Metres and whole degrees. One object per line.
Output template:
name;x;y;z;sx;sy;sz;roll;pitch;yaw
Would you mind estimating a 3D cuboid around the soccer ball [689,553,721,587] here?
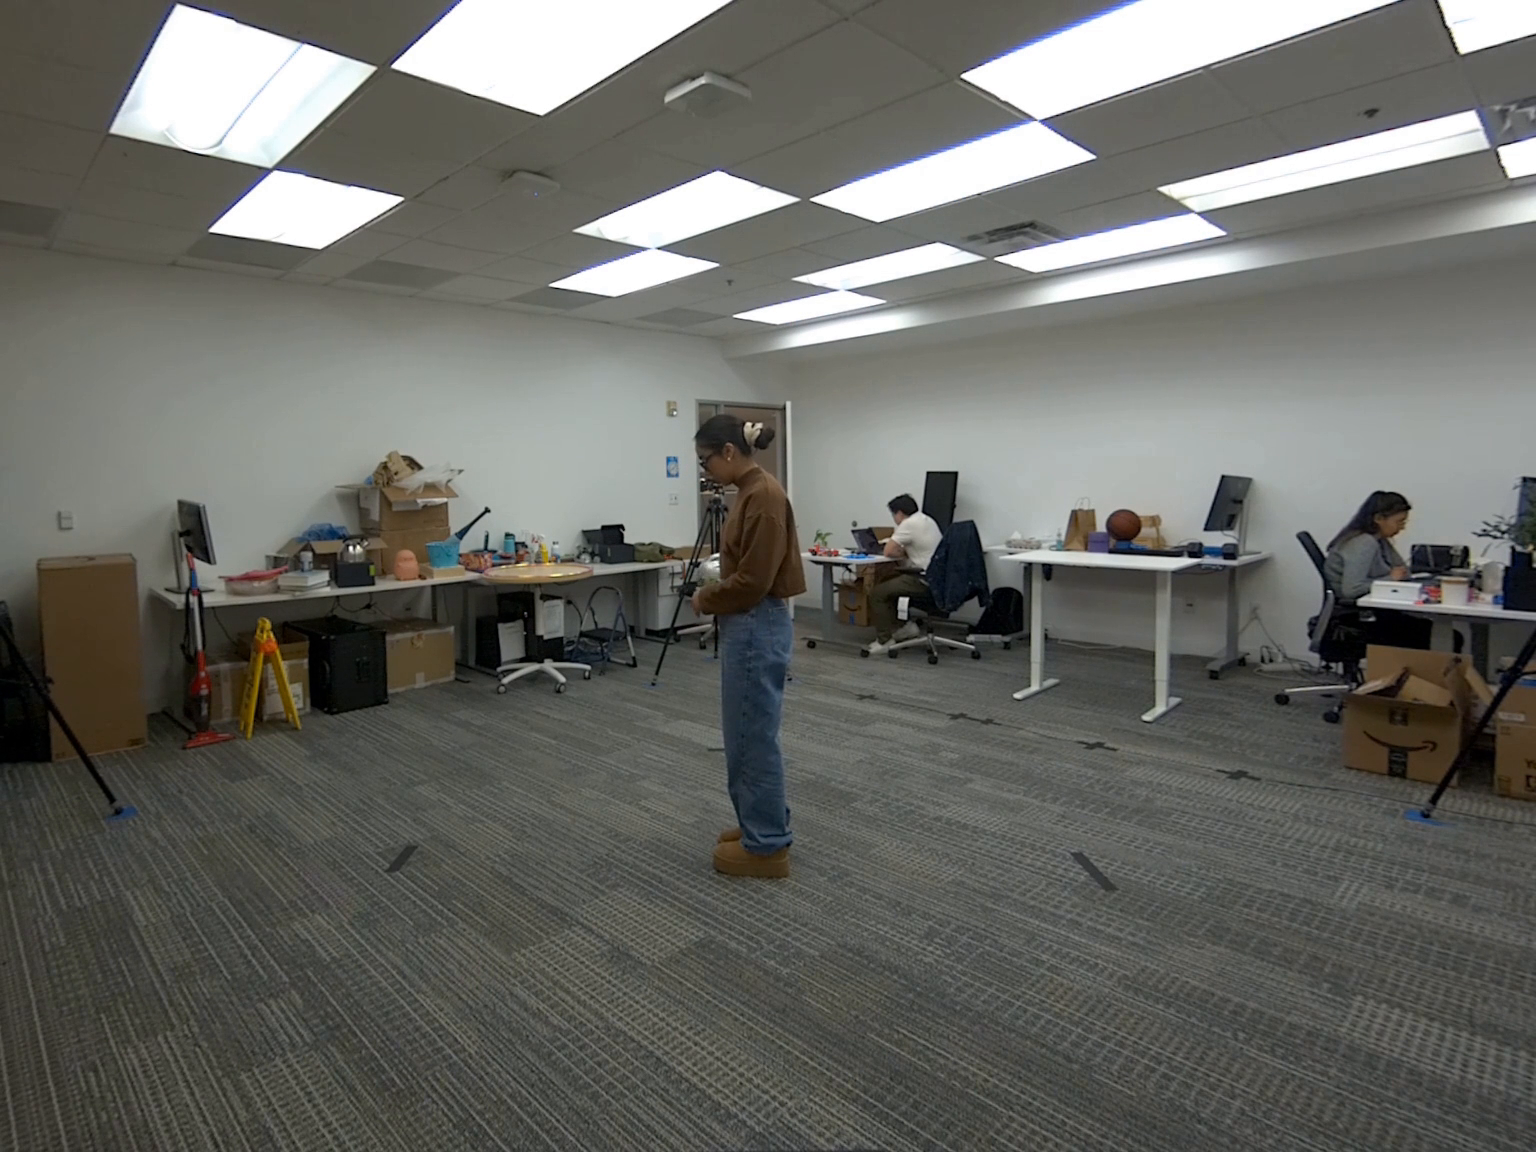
soccer ball;-0.177;0.009;3.279;0.187;0.187;0.188;-1;5;-2
